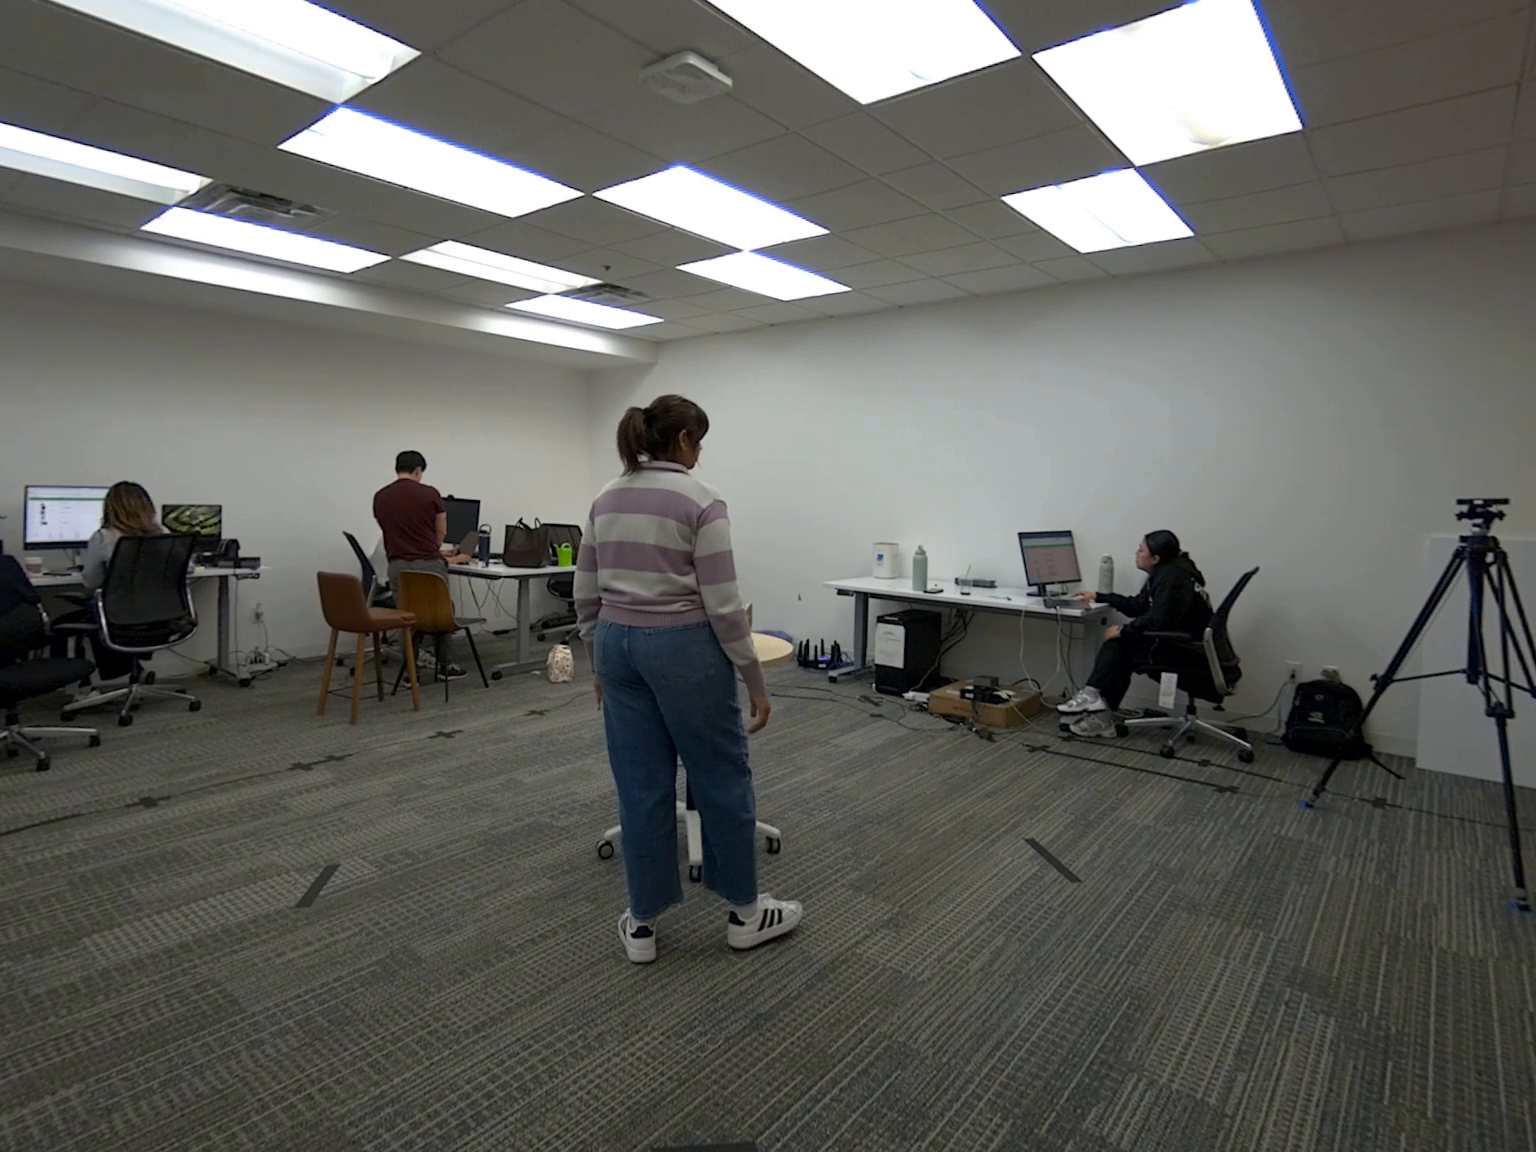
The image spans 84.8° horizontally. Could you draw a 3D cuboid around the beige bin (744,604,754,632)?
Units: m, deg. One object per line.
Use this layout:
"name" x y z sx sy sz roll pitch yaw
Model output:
"beige bin" -0.291 0.190 3.164 0.426 0.188 0.376 1 6 6
